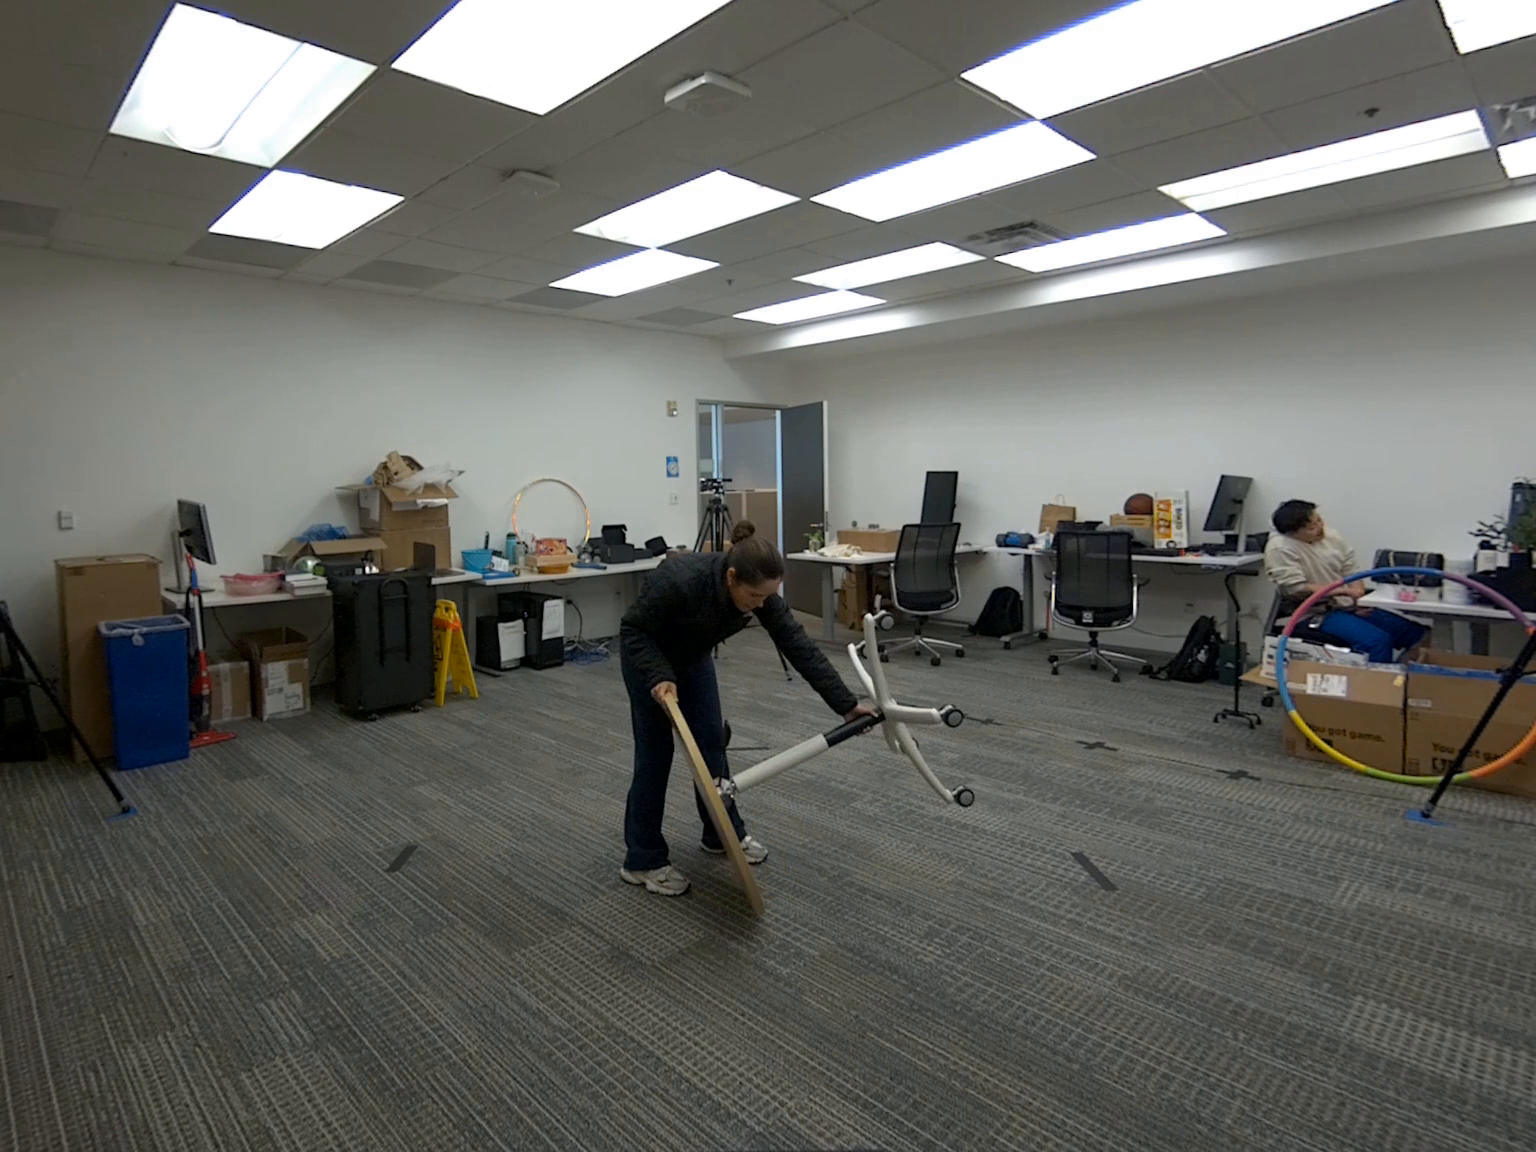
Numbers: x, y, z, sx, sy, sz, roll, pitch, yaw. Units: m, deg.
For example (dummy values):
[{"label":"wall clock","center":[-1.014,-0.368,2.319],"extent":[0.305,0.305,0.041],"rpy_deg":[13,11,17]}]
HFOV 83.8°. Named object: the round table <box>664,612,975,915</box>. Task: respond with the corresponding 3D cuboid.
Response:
[{"label":"round table","center":[0.147,0.563,2.867],"extent":[0.782,0.777,0.798],"rpy_deg":[-24,9,-11]}]
